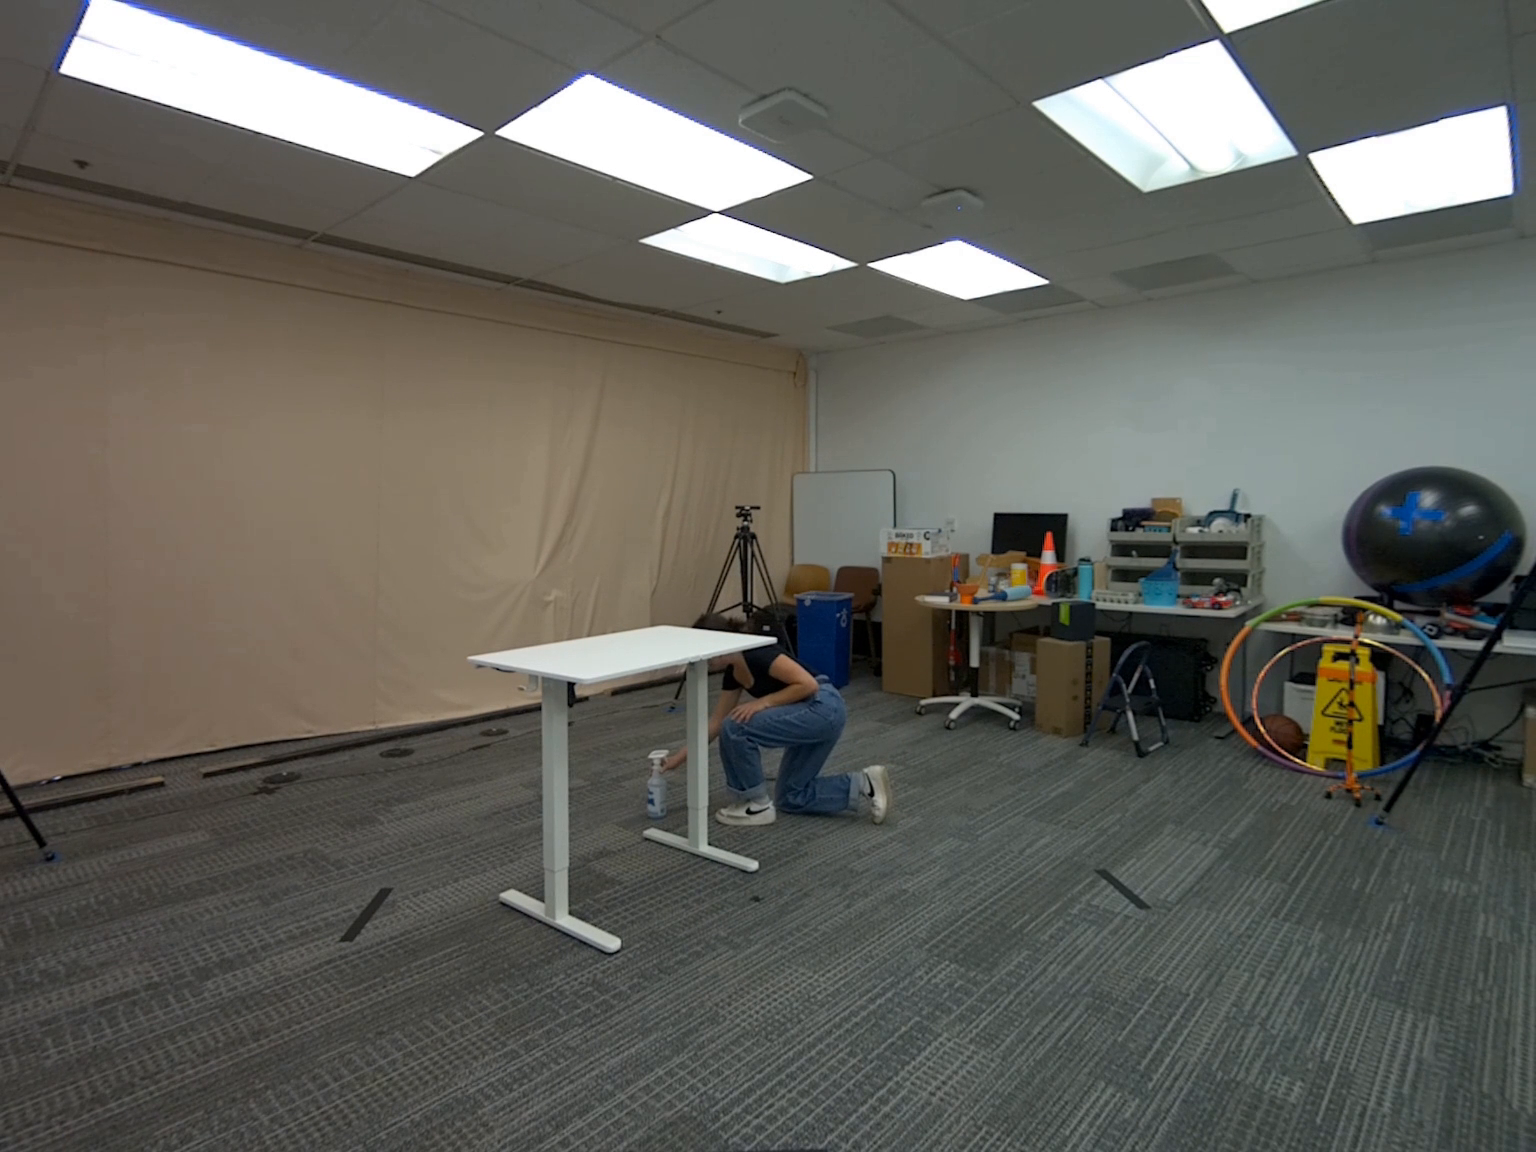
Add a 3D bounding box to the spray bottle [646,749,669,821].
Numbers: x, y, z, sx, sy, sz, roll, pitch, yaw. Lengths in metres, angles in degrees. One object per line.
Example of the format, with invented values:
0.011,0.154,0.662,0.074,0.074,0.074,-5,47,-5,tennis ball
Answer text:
-0.497,0.935,3.792,0.092,0.297,0.085,4,4,16,spray bottle
